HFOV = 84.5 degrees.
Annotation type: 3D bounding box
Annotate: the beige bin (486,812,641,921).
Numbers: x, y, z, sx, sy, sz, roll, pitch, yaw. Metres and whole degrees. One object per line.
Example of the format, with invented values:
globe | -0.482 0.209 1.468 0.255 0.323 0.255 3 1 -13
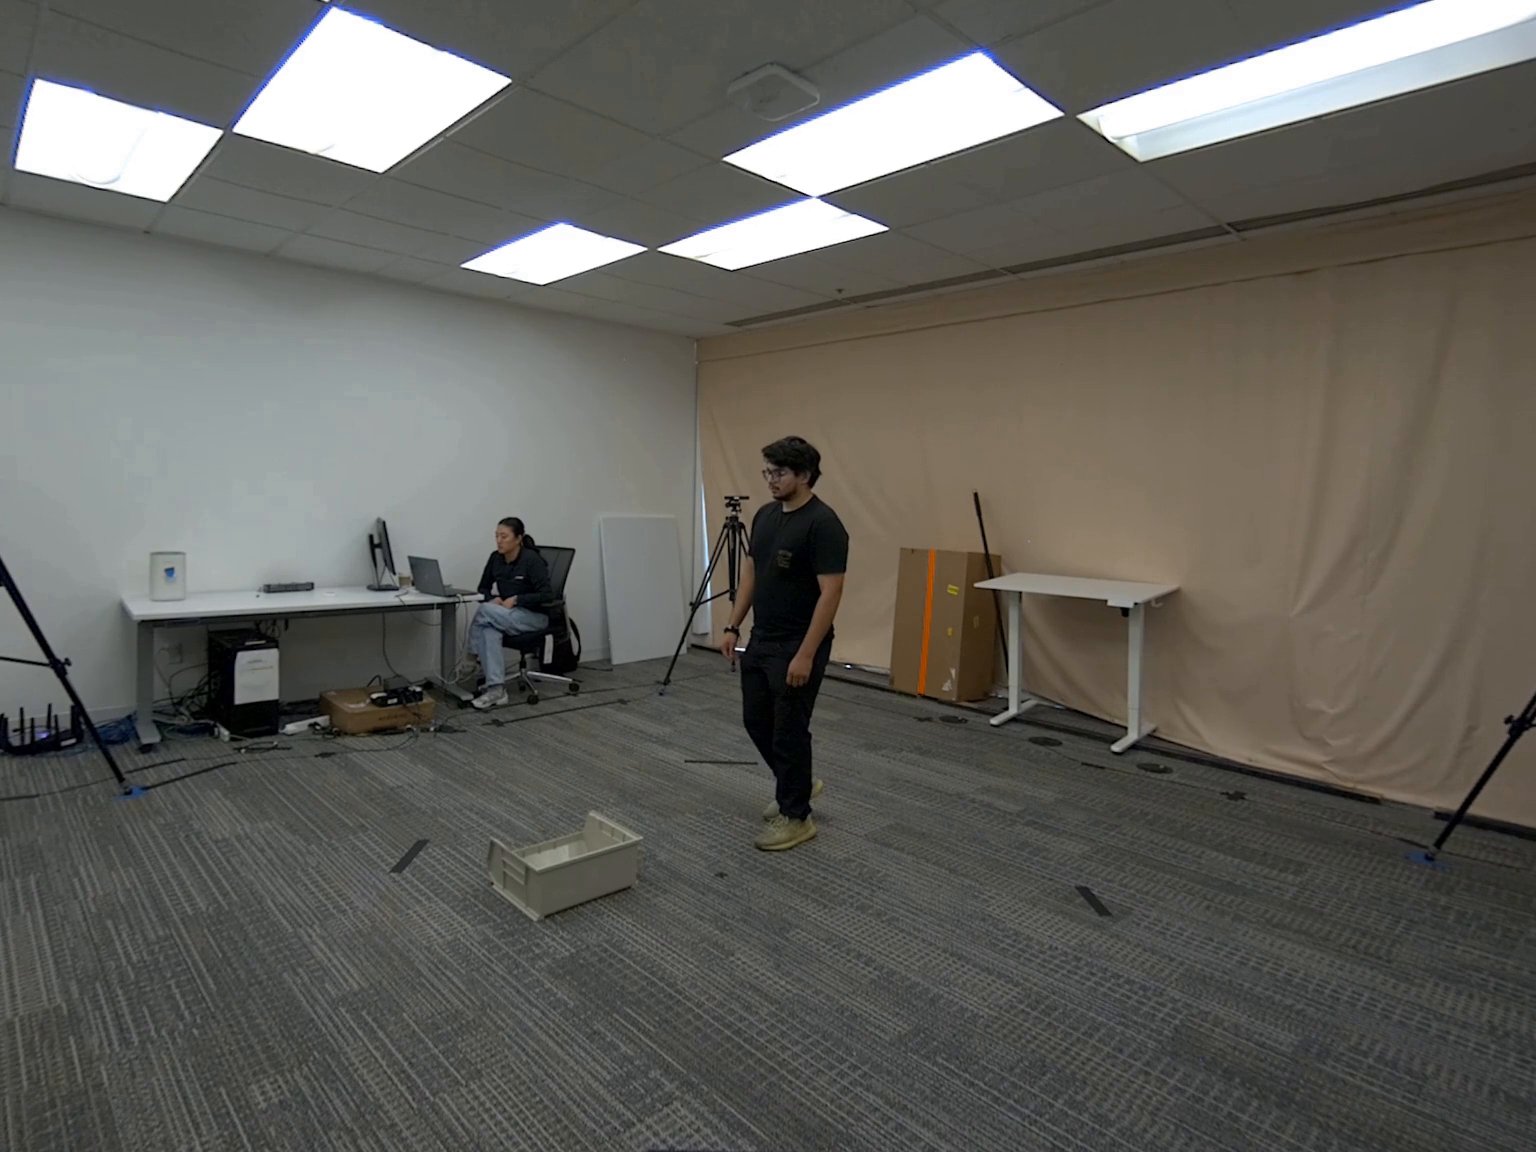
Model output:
beige bin | -0.734 1.015 2.990 0.412 0.188 0.387 -3 7 -43
